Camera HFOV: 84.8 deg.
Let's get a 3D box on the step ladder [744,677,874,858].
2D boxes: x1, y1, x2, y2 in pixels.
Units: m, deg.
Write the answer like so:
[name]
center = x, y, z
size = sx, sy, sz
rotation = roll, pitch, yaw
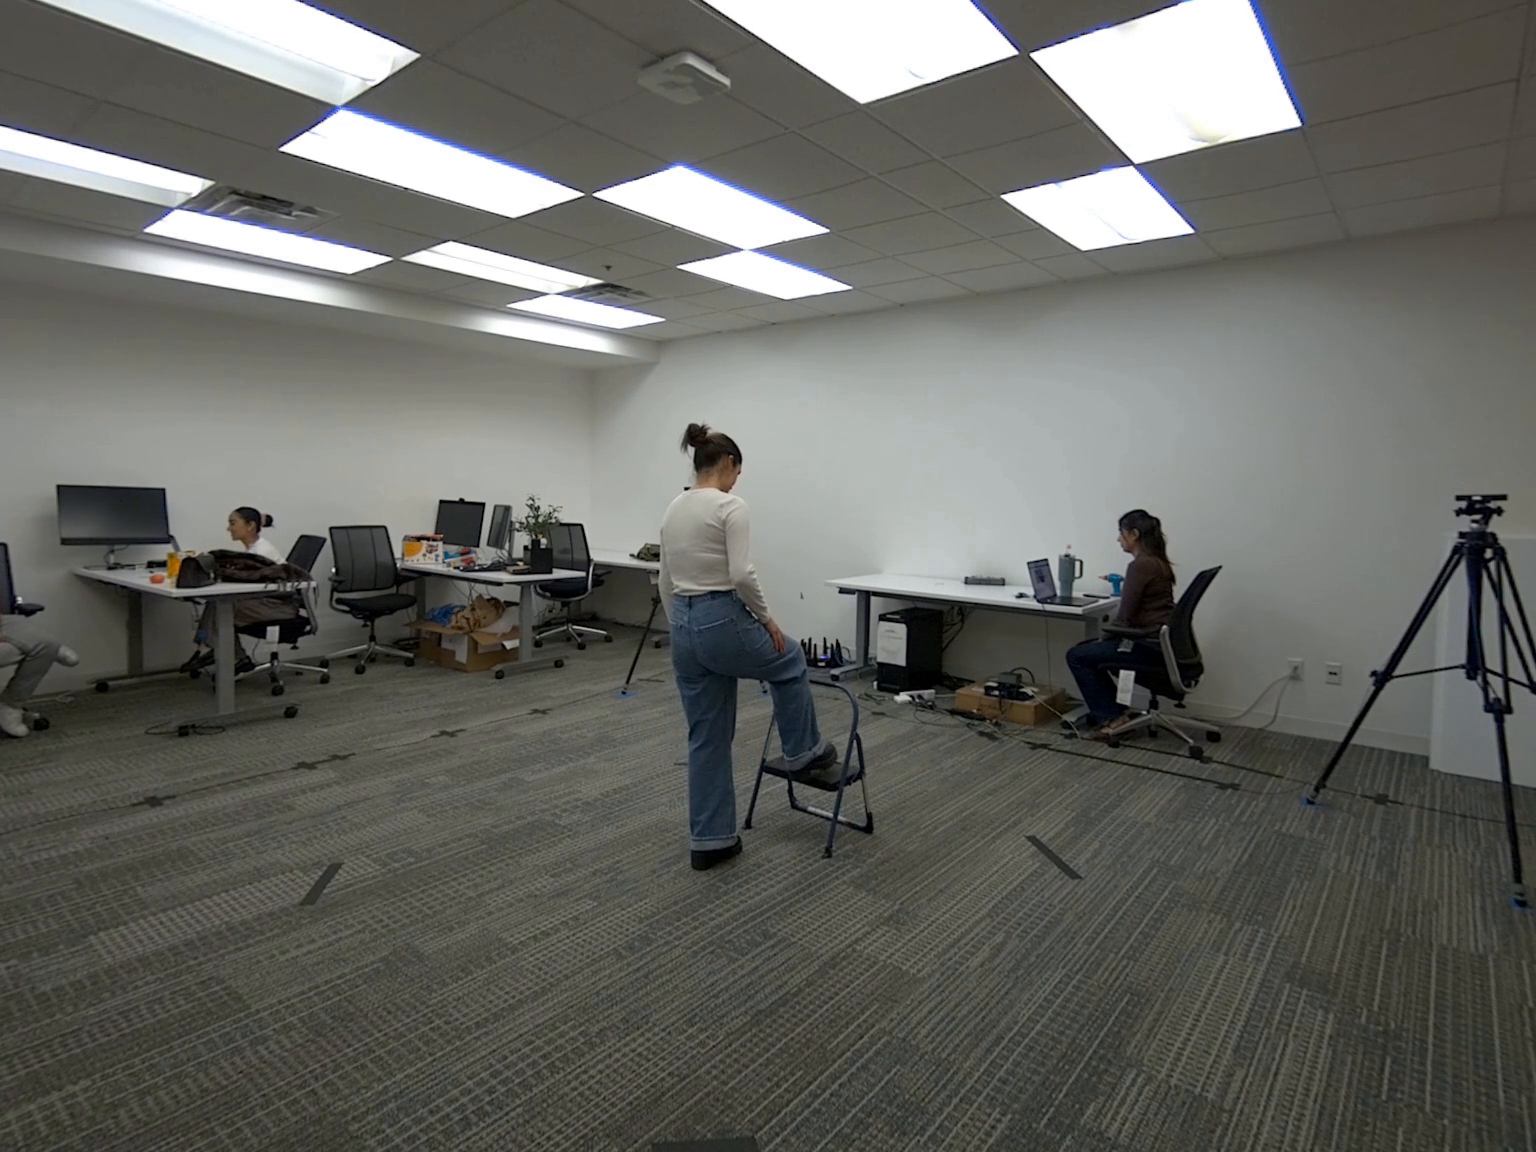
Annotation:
[step ladder]
center = 0.166, 0.733, 3.461
size = 0.445, 0.604, 0.339
rotation = 4, 4, 39
